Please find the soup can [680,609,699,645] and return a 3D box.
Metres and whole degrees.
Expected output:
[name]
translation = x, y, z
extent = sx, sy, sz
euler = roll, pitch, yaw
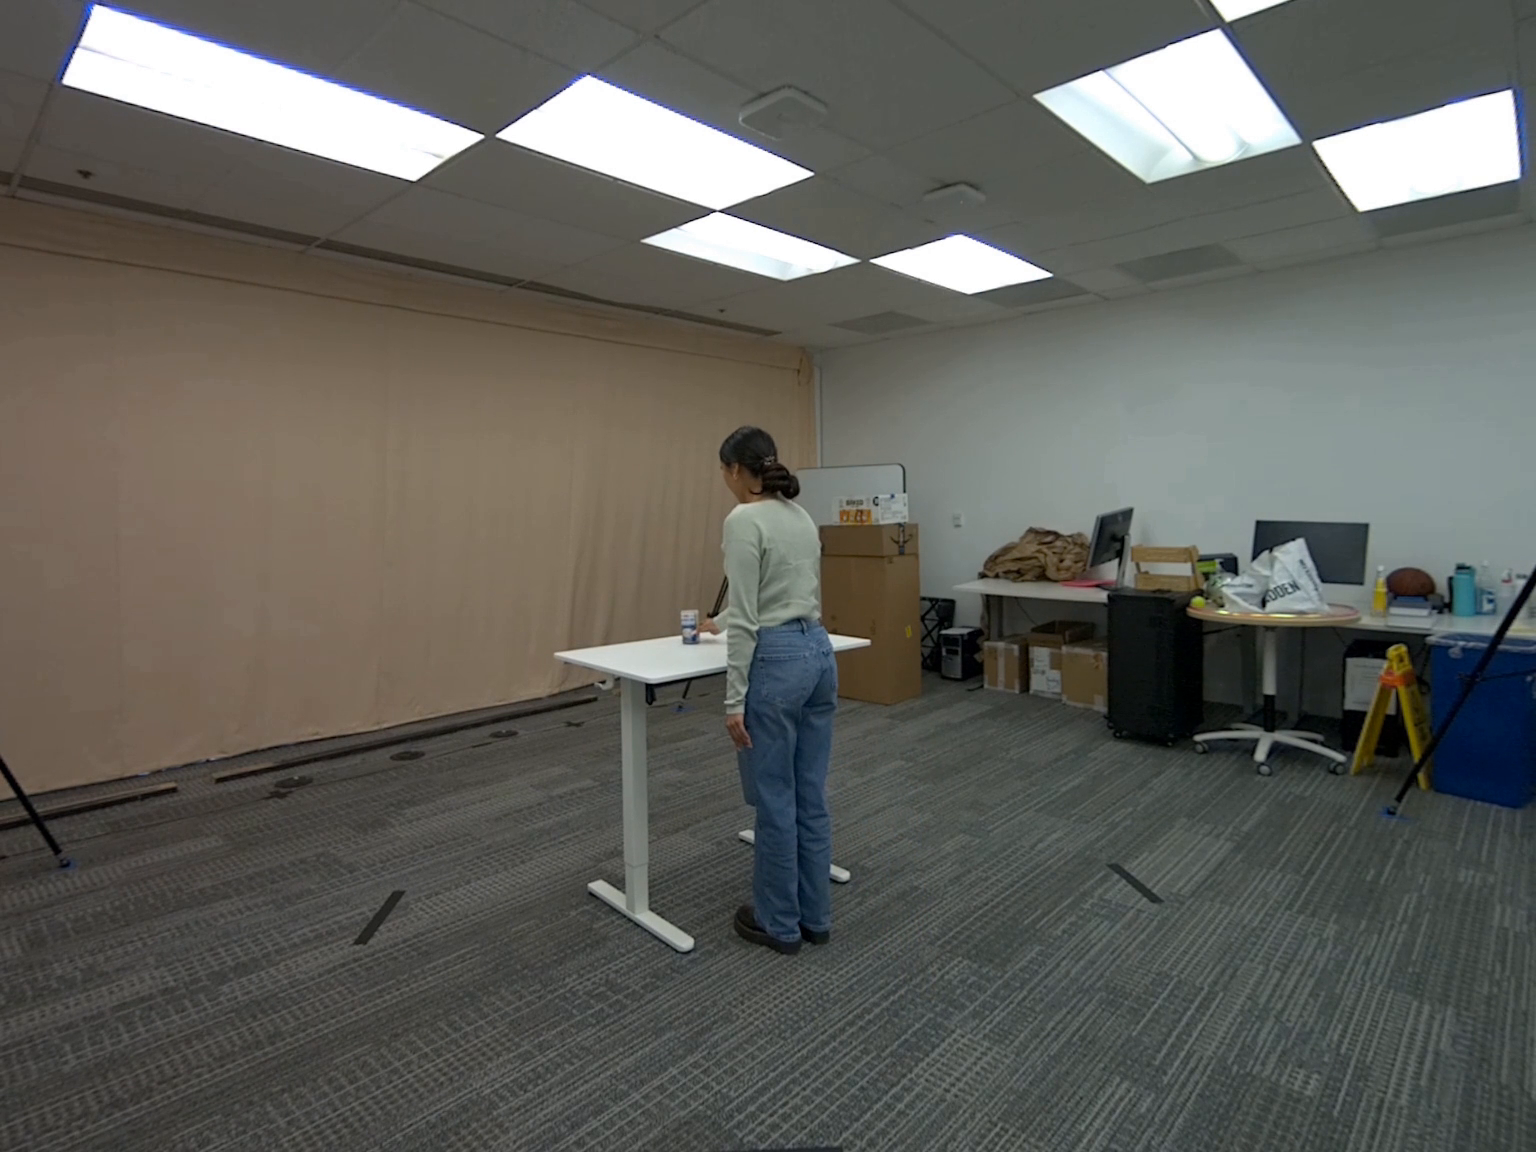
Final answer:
[soup can]
translation = -0.285, 0.190, 3.127
extent = 0.067, 0.122, 0.067
euler = -1, -1, -2
